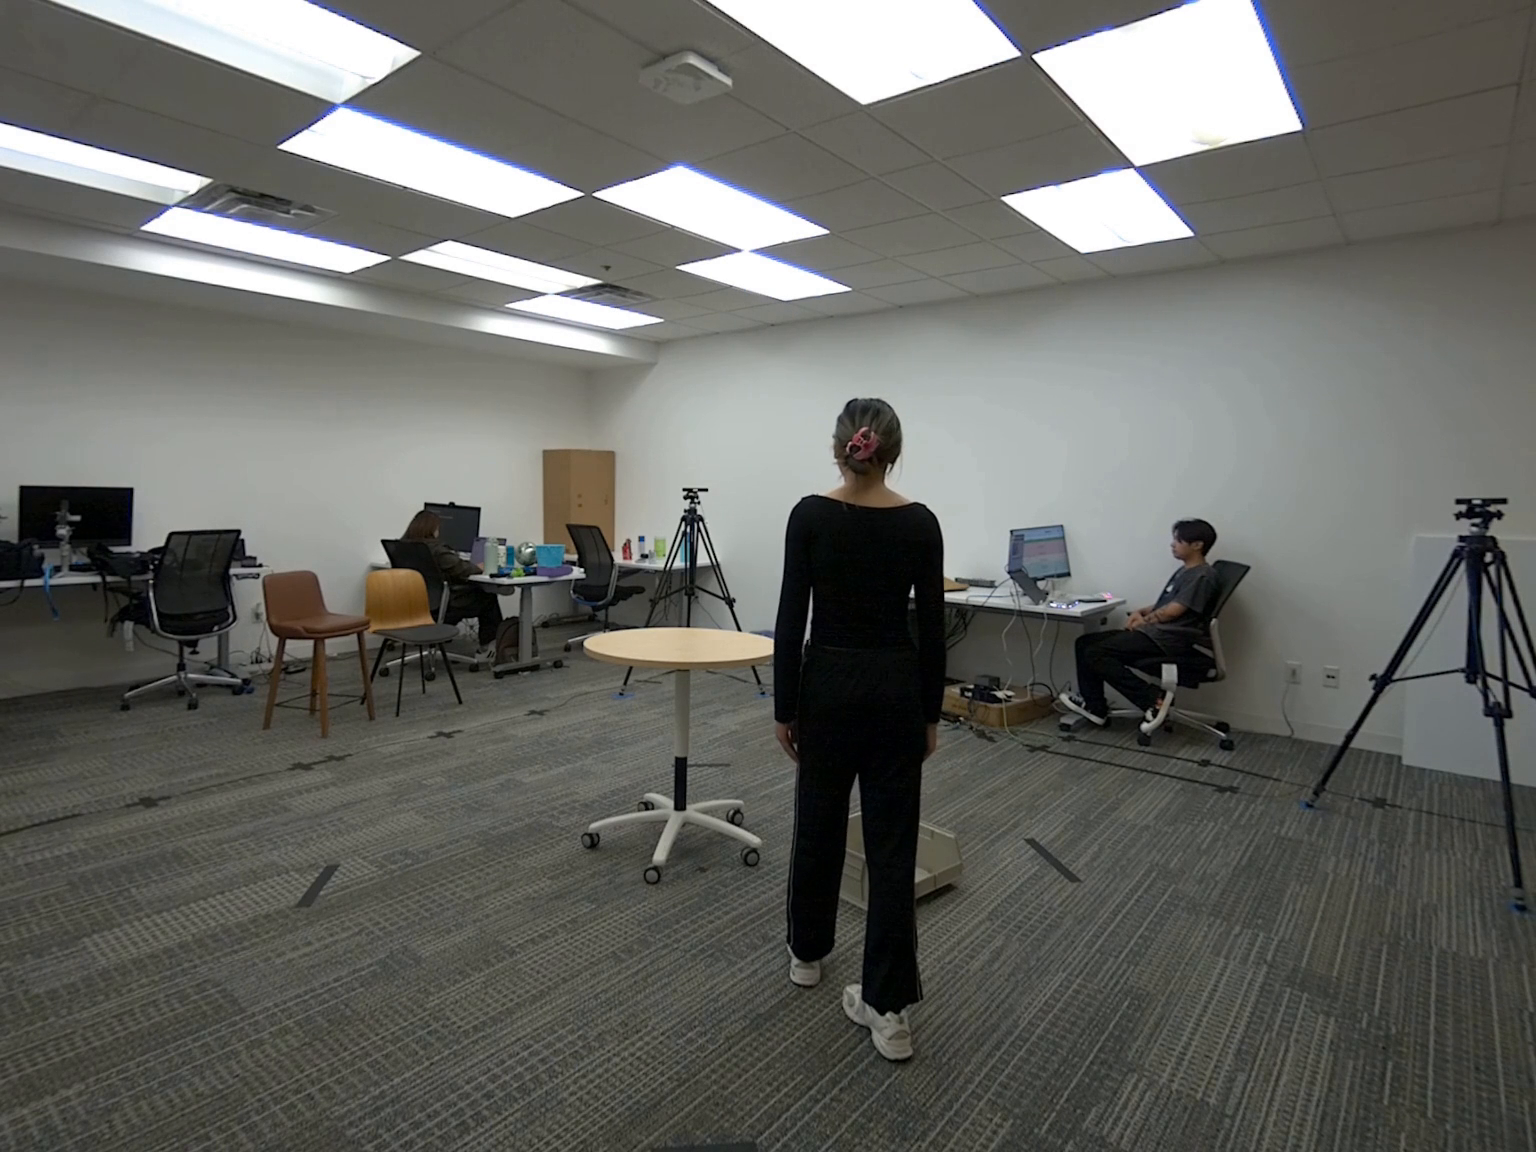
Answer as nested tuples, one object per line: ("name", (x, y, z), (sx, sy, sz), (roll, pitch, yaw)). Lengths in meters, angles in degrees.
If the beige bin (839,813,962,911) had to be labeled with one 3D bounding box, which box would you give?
("beige bin", (0.410, 1.002, 3.027), (0.410, 0.188, 0.390), (-4, 6, -42))
